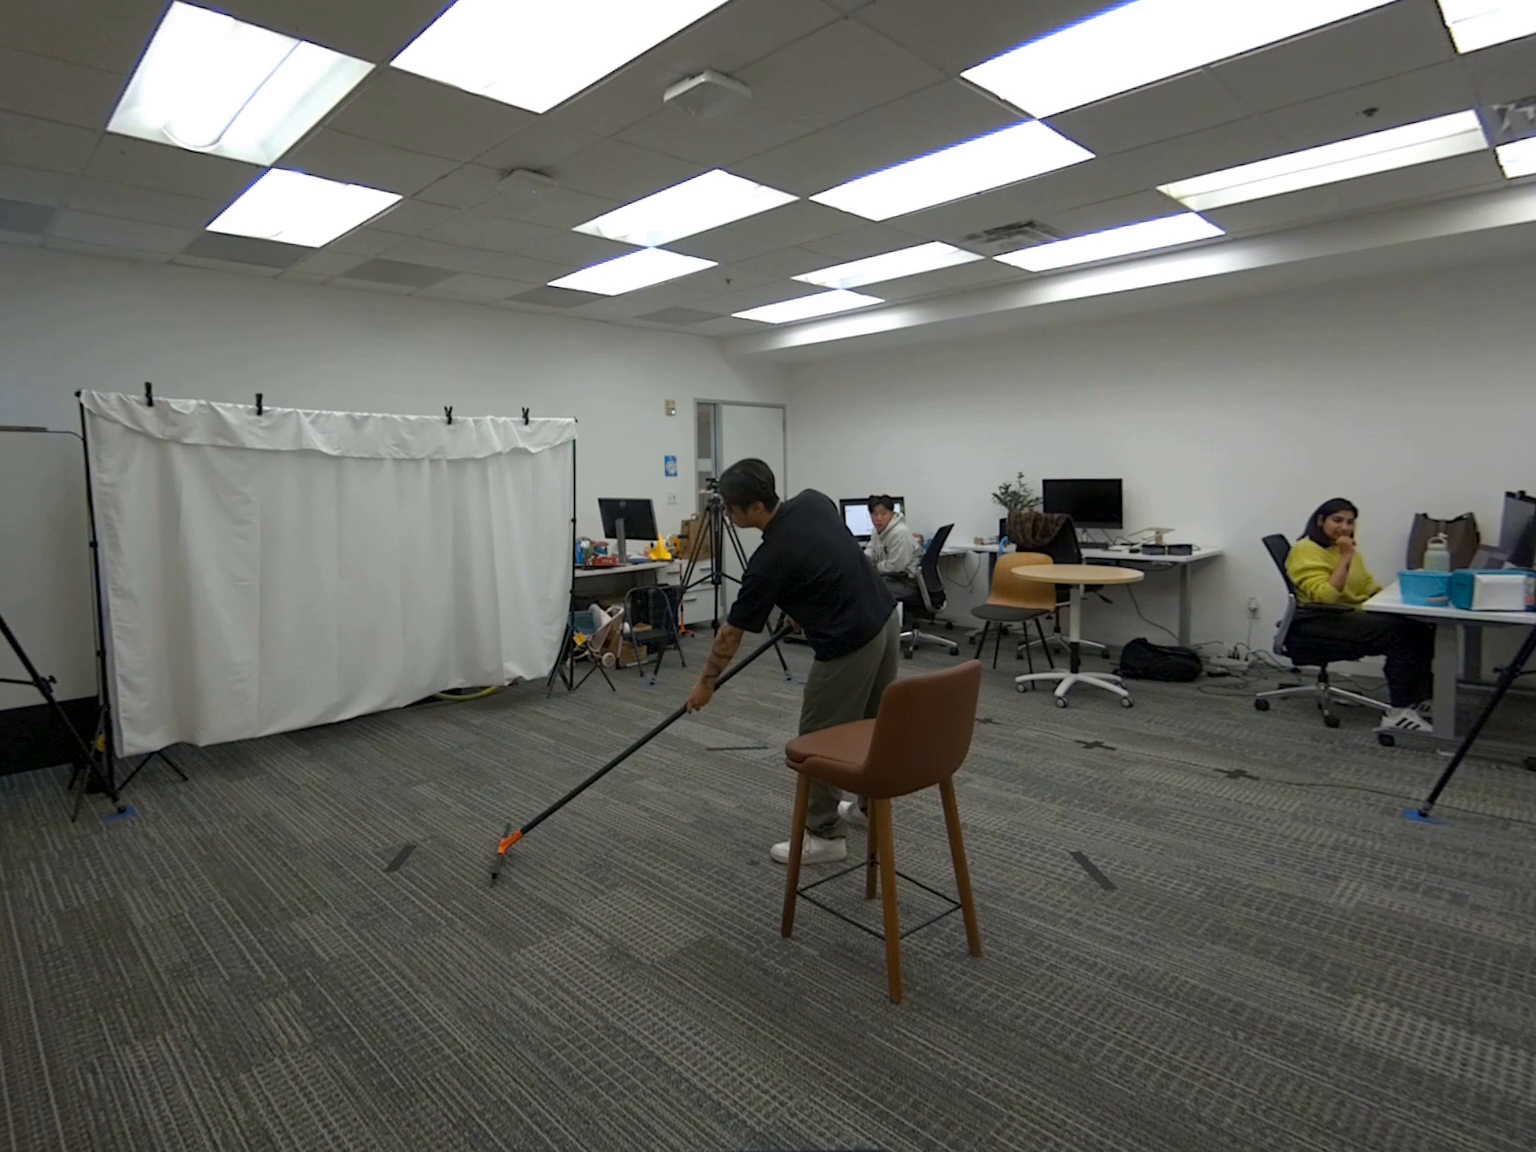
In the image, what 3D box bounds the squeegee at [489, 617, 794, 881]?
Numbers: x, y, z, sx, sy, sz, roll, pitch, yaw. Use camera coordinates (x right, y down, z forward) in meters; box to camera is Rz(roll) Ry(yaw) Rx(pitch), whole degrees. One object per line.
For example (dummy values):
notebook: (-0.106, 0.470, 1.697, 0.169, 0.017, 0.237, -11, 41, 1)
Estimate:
squeegee: (-0.413, 0.571, 3.180, 1.537, 0.052, 0.443, -37, 11, -2)
